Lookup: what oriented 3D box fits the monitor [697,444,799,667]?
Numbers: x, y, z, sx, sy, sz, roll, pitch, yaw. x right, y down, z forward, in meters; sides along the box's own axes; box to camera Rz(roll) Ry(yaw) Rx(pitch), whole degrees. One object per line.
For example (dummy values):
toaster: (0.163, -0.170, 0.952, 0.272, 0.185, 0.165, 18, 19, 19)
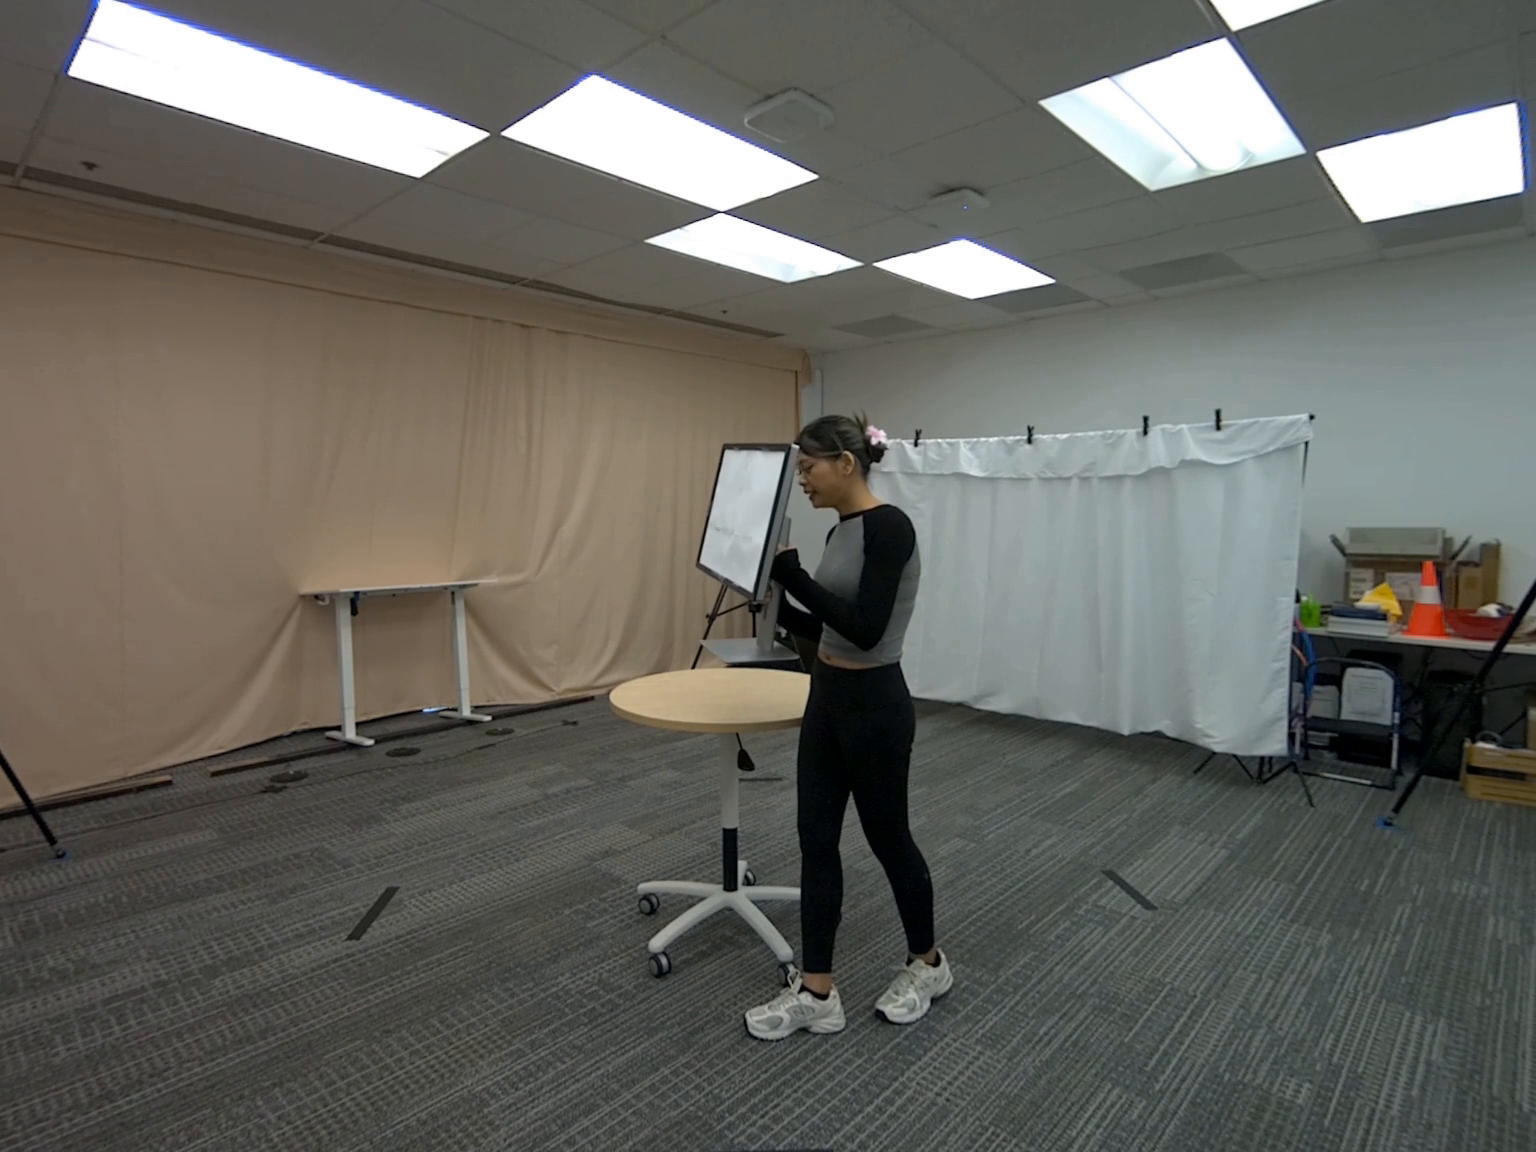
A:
monitor: (-0.035, -0.065, 2.166, 0.183, 0.520, 0.552, -1, 7, -20)
